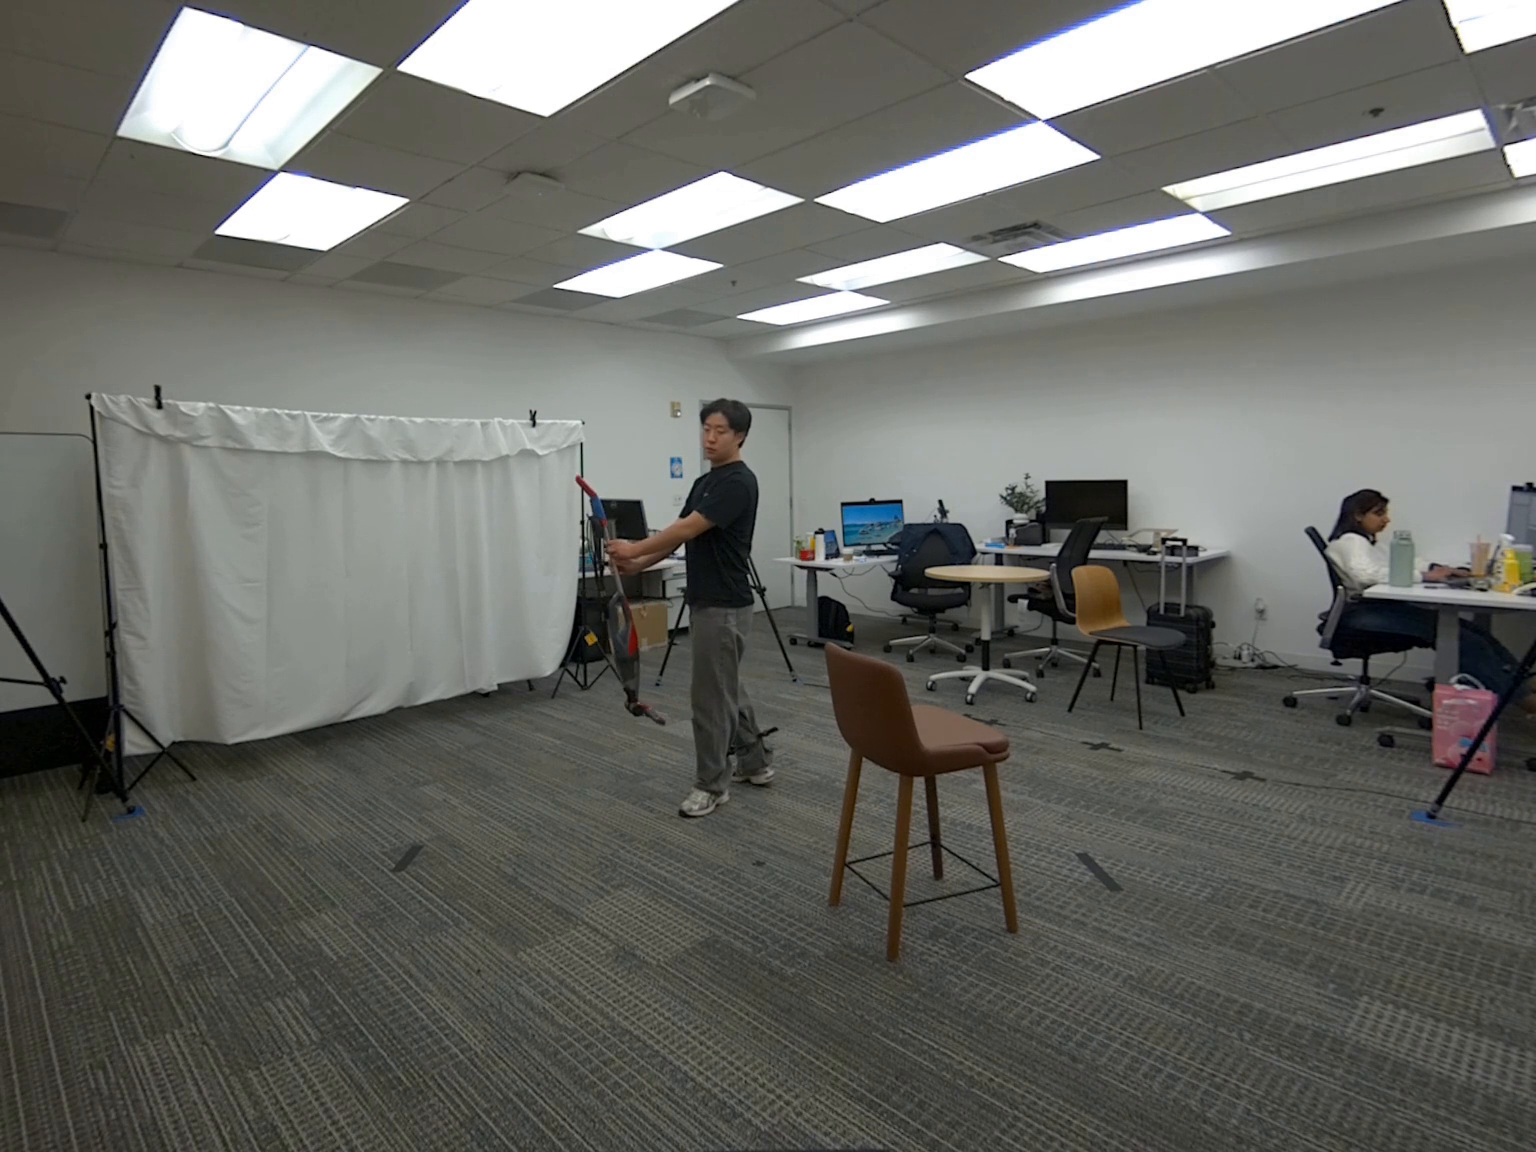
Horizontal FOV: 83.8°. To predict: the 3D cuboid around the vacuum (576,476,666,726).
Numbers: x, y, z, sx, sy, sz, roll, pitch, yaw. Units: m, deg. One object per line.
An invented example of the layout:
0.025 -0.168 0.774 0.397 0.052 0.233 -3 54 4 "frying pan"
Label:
-0.670 0.094 3.634 0.142 1.037 0.258 -18 11 -20 "vacuum"
